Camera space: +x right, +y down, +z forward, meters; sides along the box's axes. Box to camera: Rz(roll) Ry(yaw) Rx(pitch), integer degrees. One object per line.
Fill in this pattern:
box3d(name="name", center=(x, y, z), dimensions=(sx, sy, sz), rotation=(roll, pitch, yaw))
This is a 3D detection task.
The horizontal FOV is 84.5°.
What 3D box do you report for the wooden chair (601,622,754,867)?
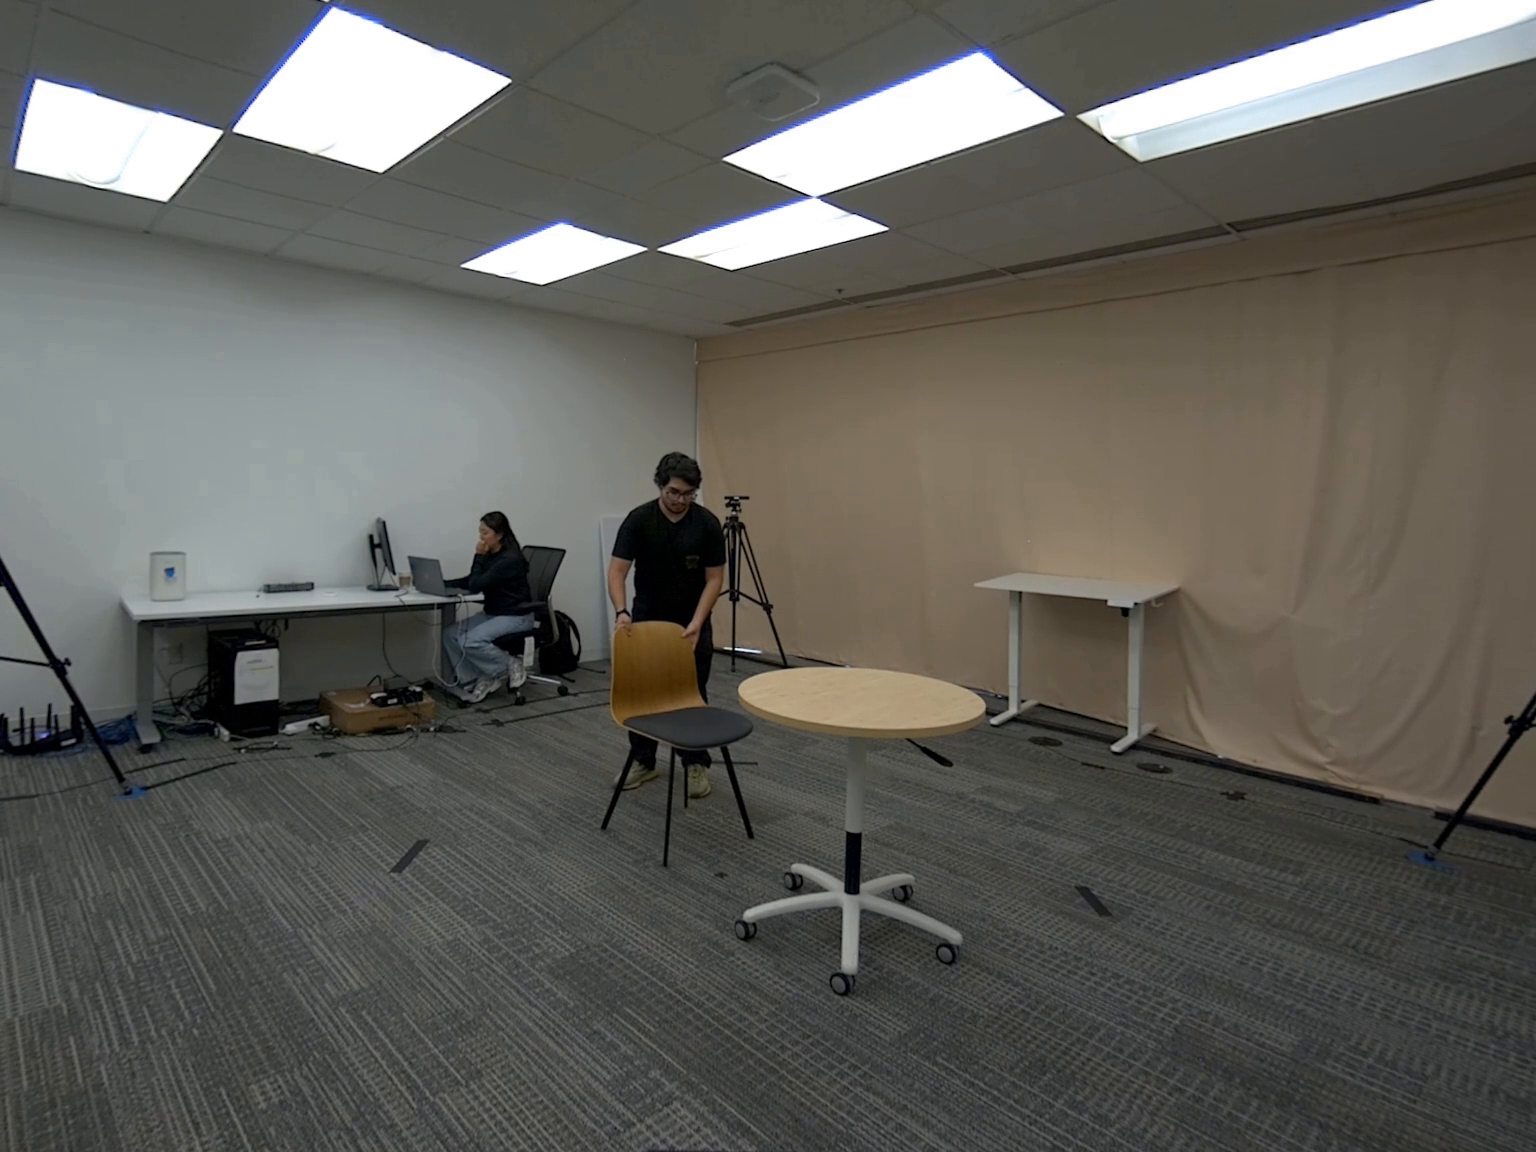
box3d(name="wooden chair", center=(-0.369, 0.642, 3.433), dimensions=(0.467, 0.878, 0.535), rotation=(-1, 0, -43))
